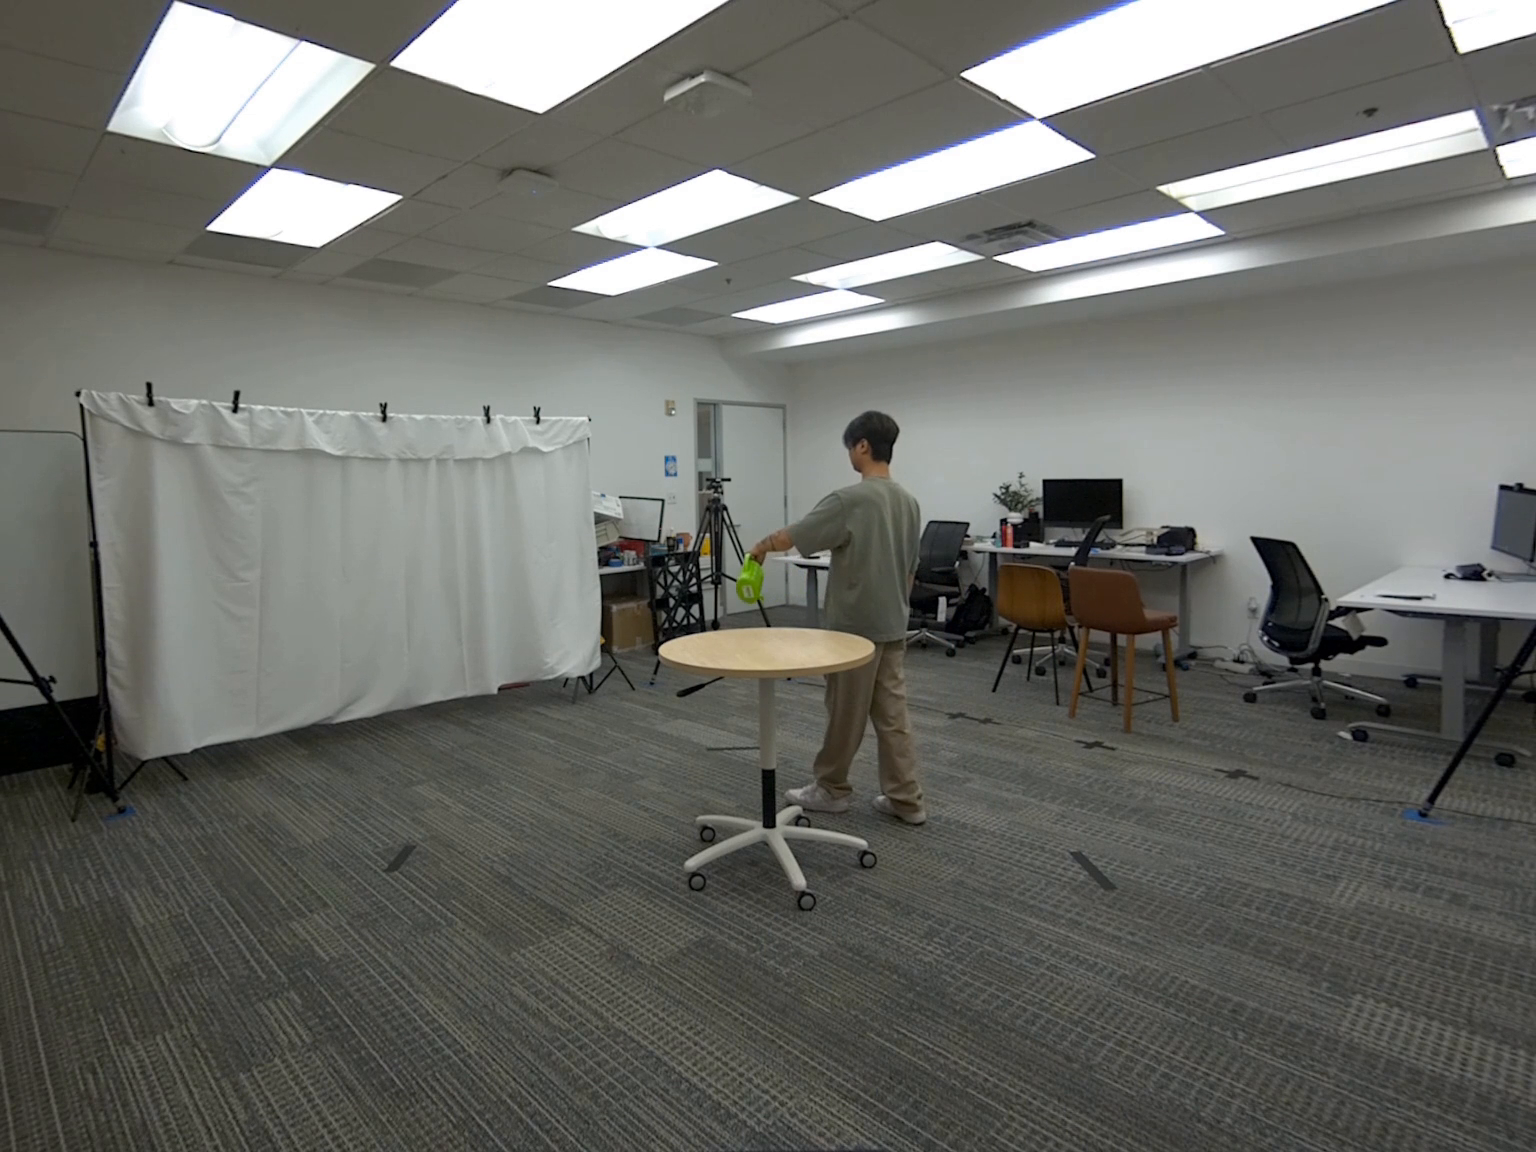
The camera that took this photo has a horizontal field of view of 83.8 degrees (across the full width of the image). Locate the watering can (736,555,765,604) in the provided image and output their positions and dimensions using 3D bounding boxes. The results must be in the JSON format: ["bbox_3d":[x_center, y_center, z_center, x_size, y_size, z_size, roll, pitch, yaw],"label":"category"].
[{"bbox_3d":[-0.051,0.041,3.585,0.099,0.270,0.179,-13,32,24],"label":"watering can"}]
